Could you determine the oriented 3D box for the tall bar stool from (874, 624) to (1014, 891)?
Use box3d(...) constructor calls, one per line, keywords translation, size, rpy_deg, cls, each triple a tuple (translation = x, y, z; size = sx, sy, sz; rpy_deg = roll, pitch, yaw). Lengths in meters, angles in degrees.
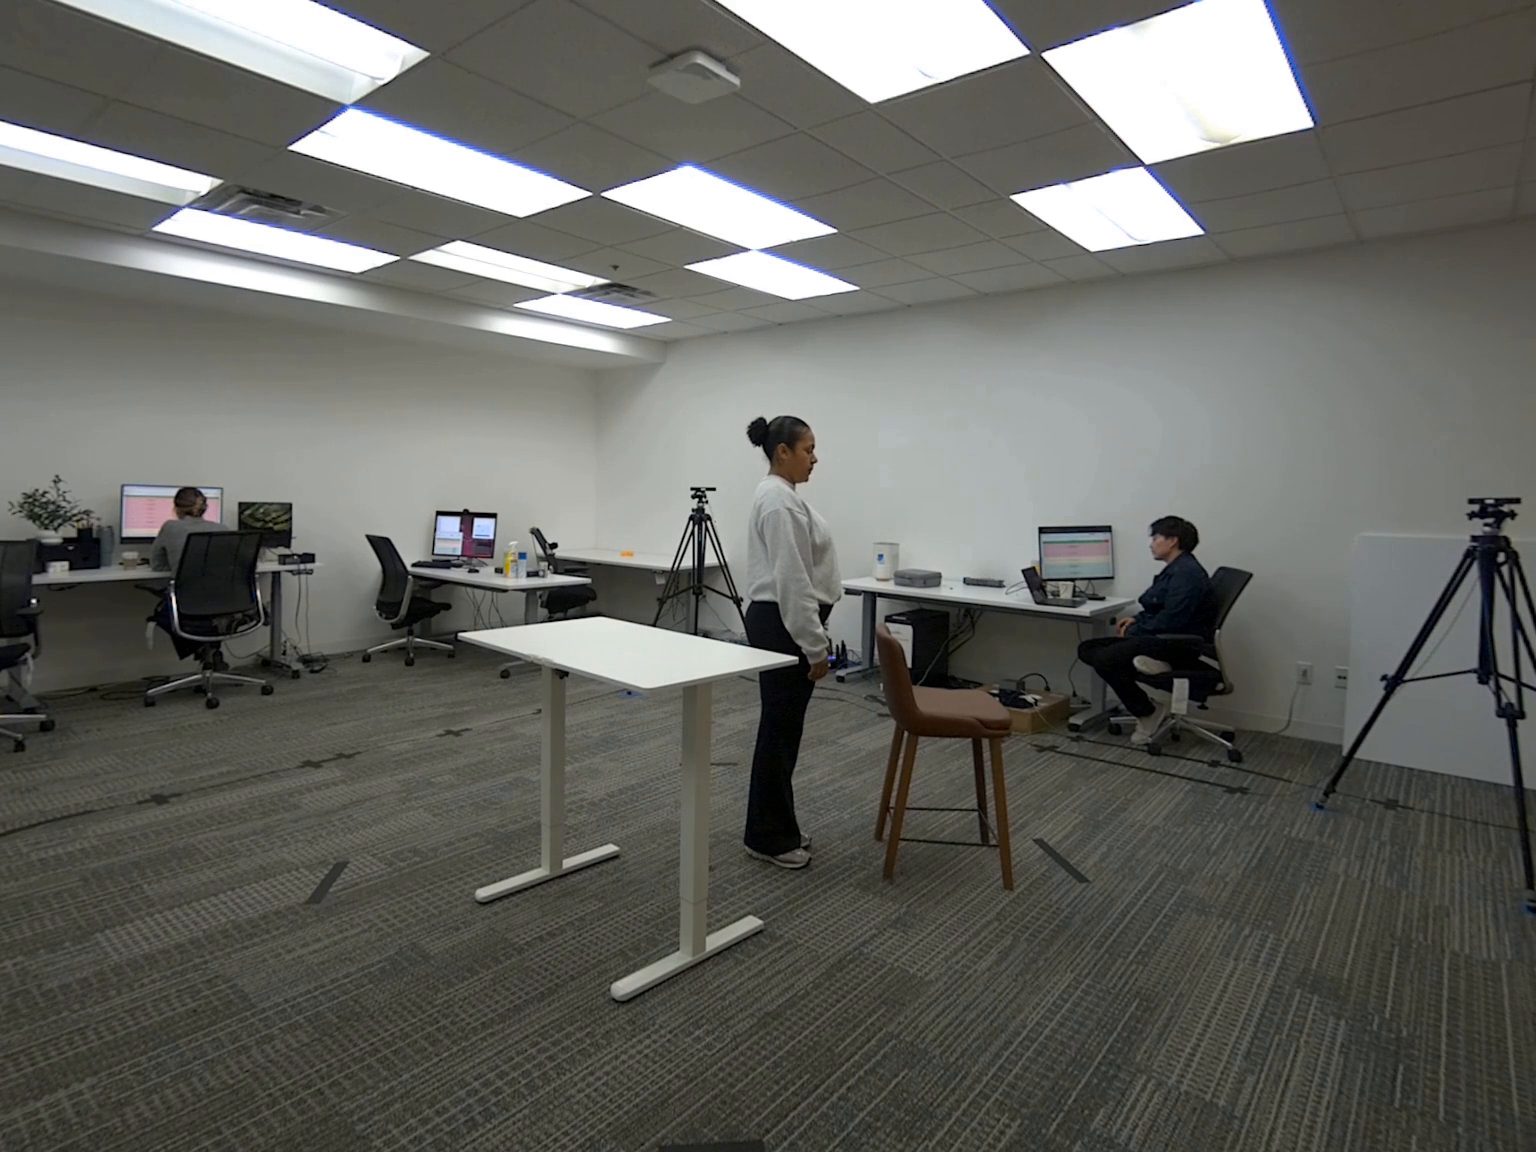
box3d(translation=(0.644, 0.641, 3.196), size=(0.470, 0.888, 0.455), rpy_deg=(0, 2, 4), cls="tall bar stool")
